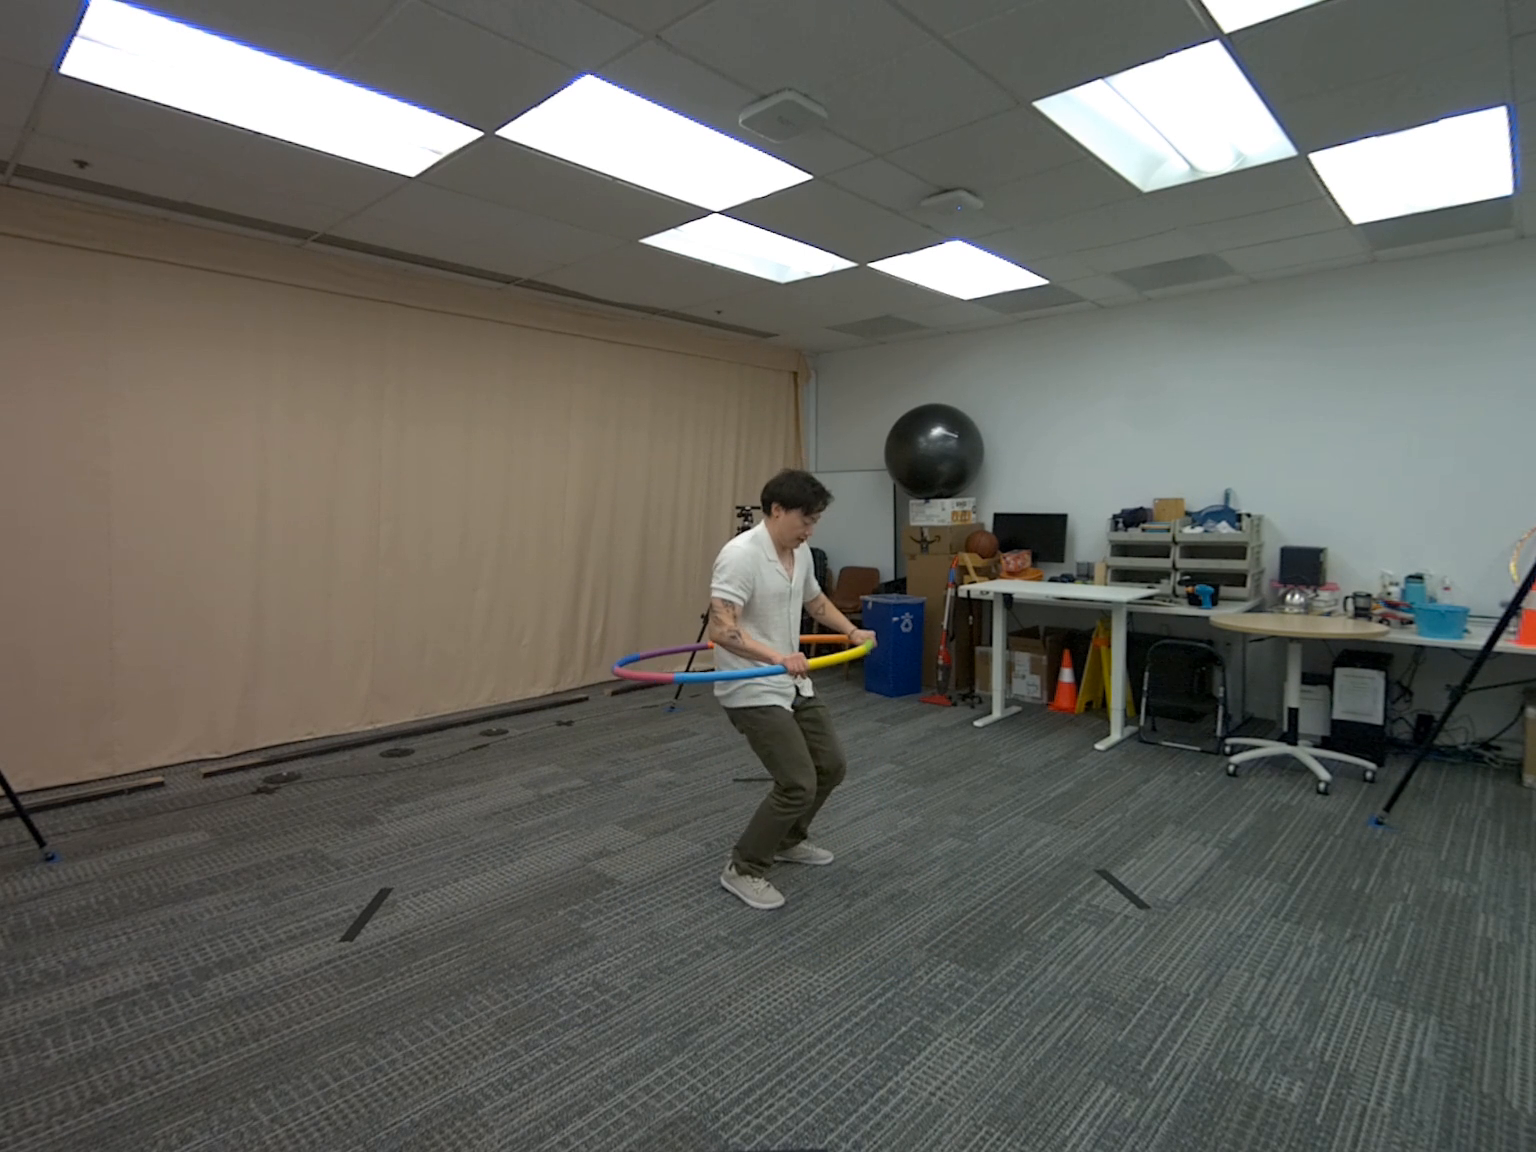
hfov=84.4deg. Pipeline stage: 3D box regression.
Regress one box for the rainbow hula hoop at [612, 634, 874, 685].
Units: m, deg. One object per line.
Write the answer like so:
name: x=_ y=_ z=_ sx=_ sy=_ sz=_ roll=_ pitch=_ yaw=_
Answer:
rainbow hula hoop: x=-0.098 y=0.293 z=3.167 sx=0.978 sy=0.035 sz=0.980 roll=-6 pitch=1 yaw=-2
